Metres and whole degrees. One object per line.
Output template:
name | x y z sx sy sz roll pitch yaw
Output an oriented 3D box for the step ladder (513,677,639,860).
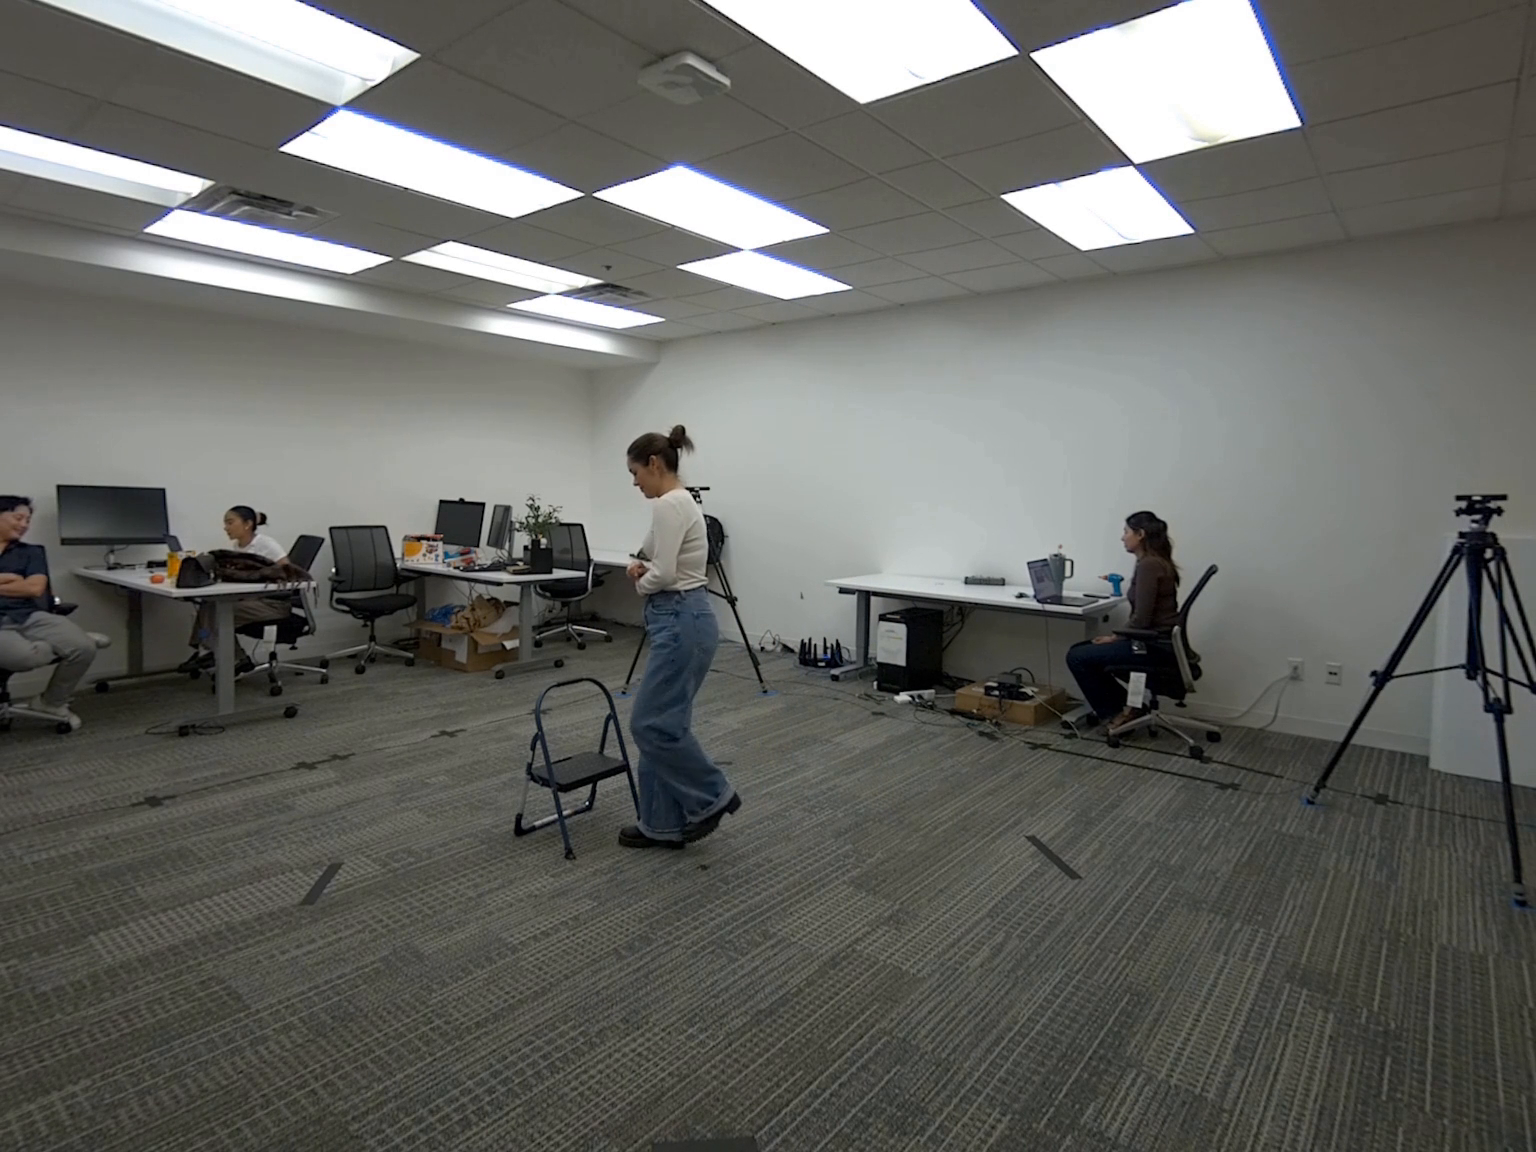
step ladder | -0.764 0.726 3.421 0.360 0.604 0.418 3 4 36
